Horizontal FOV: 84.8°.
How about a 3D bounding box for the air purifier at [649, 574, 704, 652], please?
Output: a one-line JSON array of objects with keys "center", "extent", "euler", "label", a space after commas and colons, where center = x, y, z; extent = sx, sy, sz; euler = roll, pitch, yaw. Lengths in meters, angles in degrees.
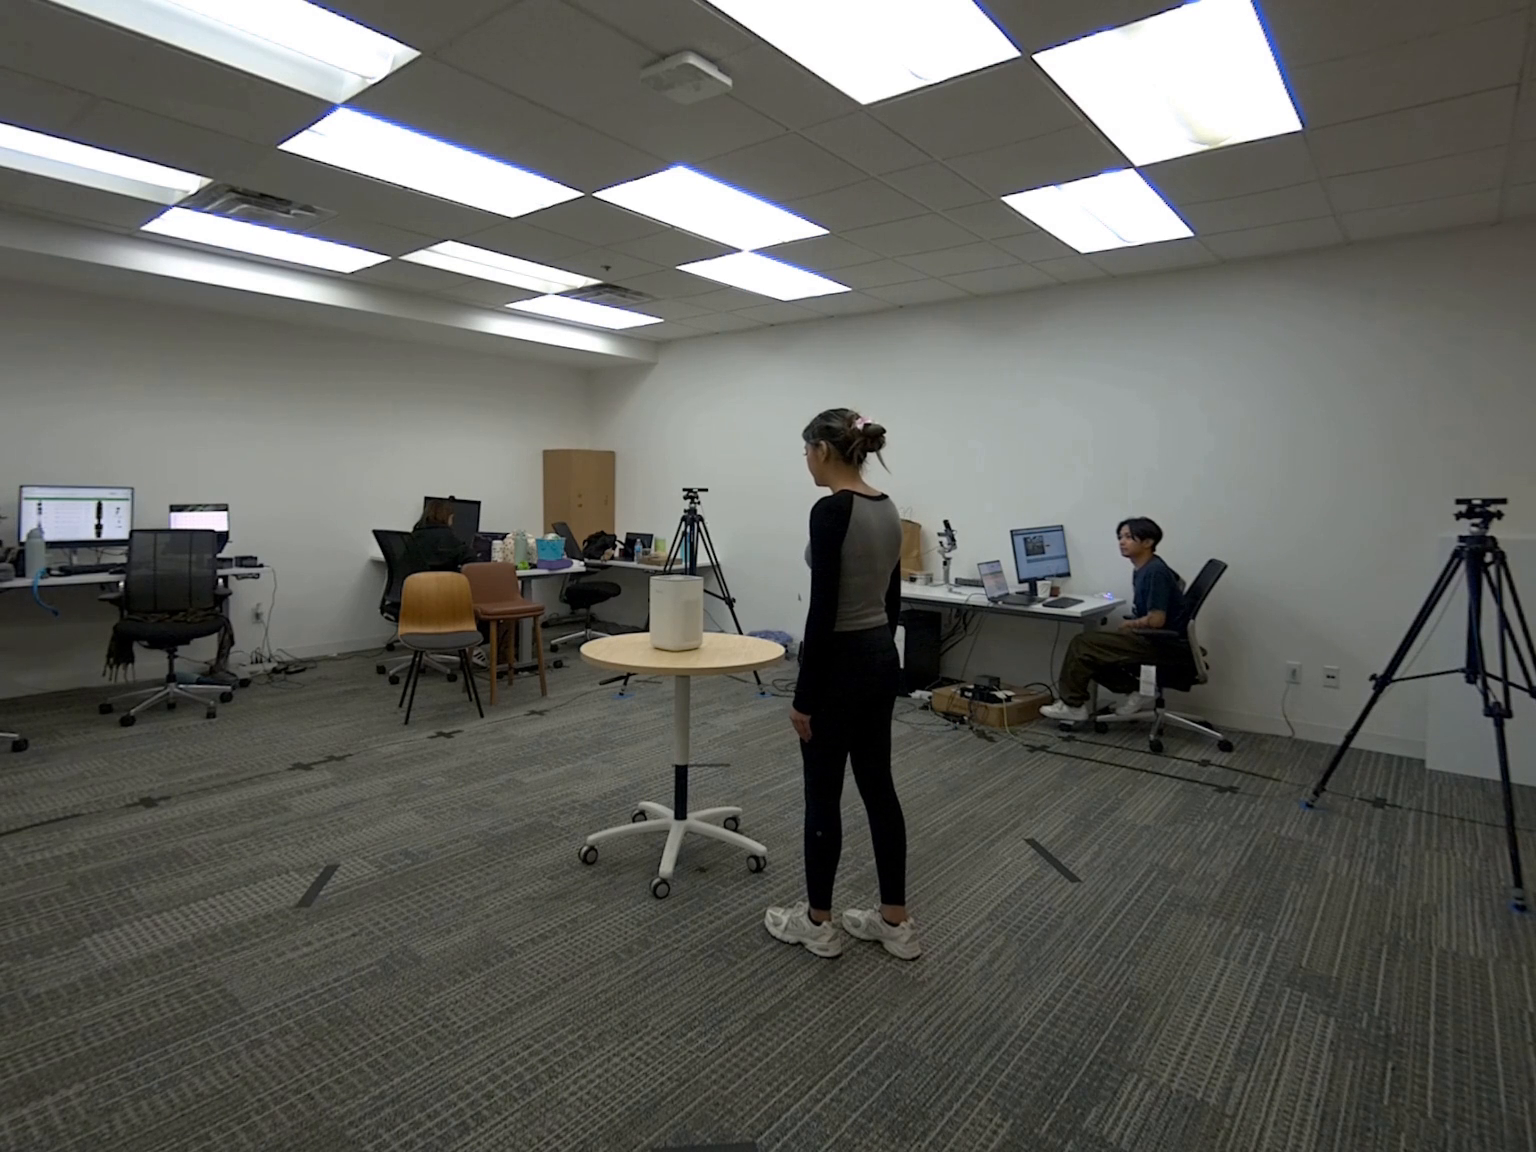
[{"center": [-0.350, 0.132, 3.181], "extent": [0.177, 0.265, 0.166], "euler": [4, 4, 41], "label": "air purifier"}]
